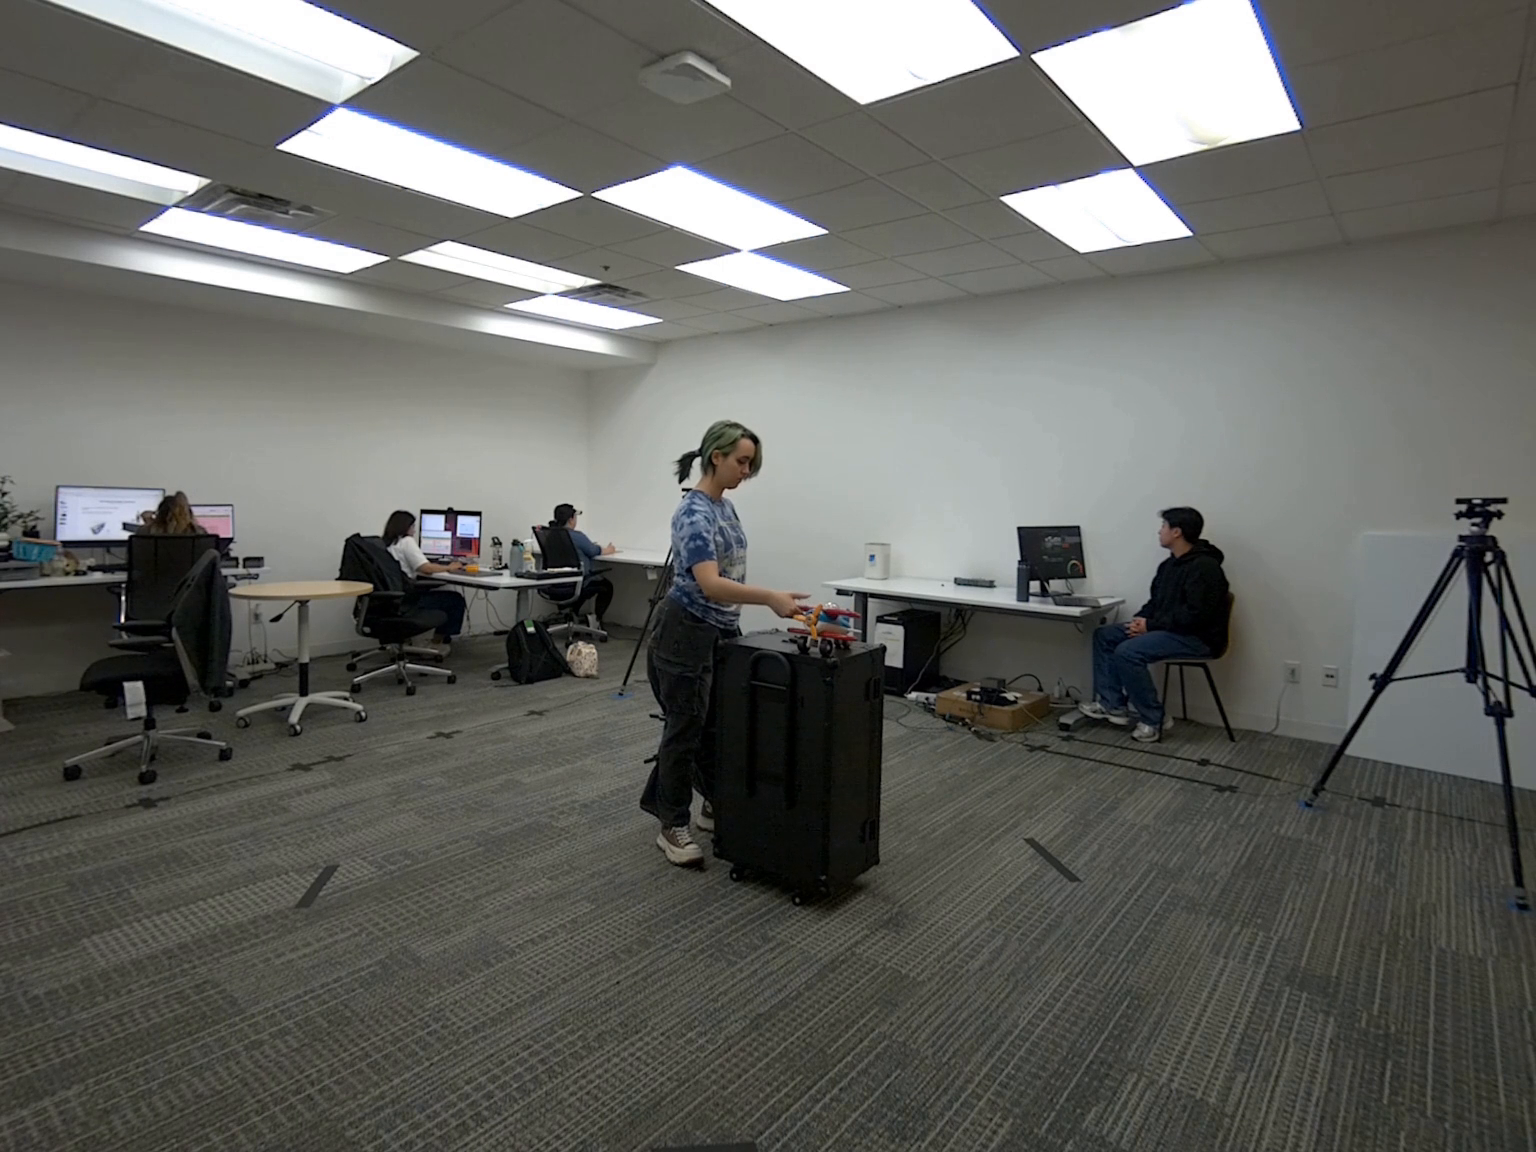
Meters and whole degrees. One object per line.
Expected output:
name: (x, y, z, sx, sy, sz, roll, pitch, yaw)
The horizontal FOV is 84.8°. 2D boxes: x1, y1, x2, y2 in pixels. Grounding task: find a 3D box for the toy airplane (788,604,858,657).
toy airplane: (0.181, 0.175, 2.909, 0.254, 0.156, 0.257, 0, 5, 10)
